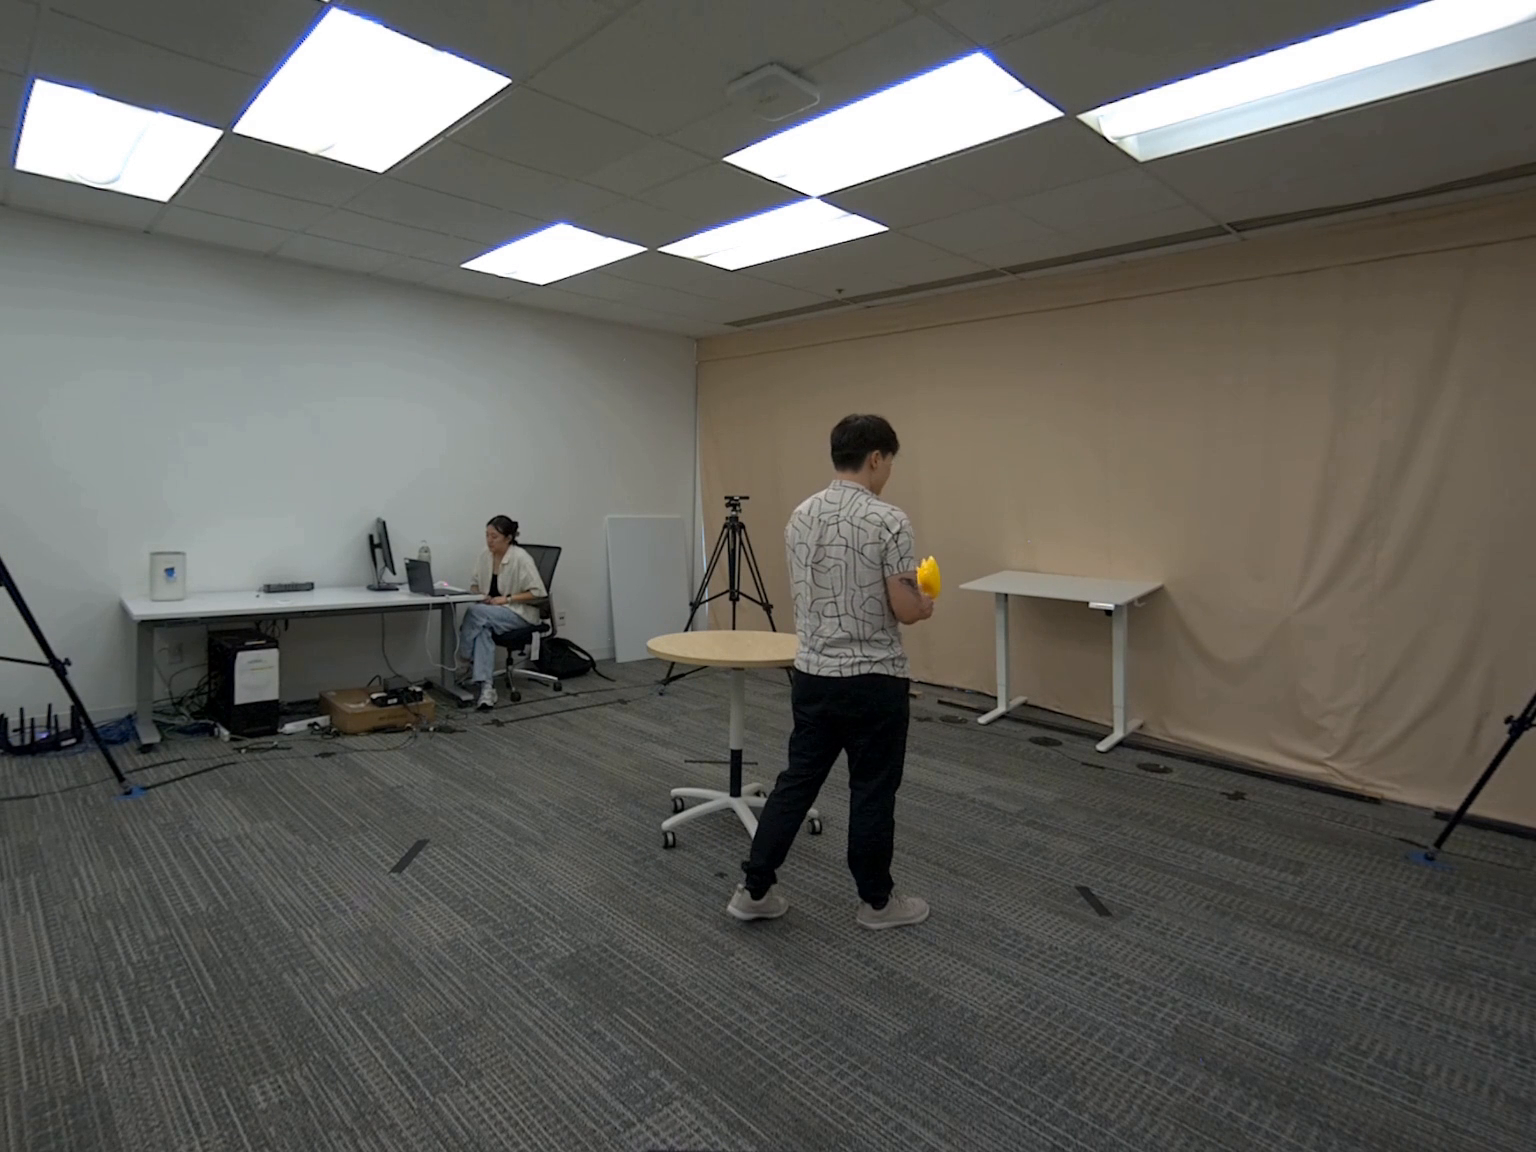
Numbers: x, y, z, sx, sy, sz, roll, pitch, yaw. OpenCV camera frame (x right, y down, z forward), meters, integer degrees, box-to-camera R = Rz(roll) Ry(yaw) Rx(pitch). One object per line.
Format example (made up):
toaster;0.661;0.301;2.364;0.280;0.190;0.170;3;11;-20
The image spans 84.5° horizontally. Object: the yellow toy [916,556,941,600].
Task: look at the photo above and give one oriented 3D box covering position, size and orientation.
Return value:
yellow toy;0.441;0.031;2.900;0.226;0.192;0.210;-5;7;-37
